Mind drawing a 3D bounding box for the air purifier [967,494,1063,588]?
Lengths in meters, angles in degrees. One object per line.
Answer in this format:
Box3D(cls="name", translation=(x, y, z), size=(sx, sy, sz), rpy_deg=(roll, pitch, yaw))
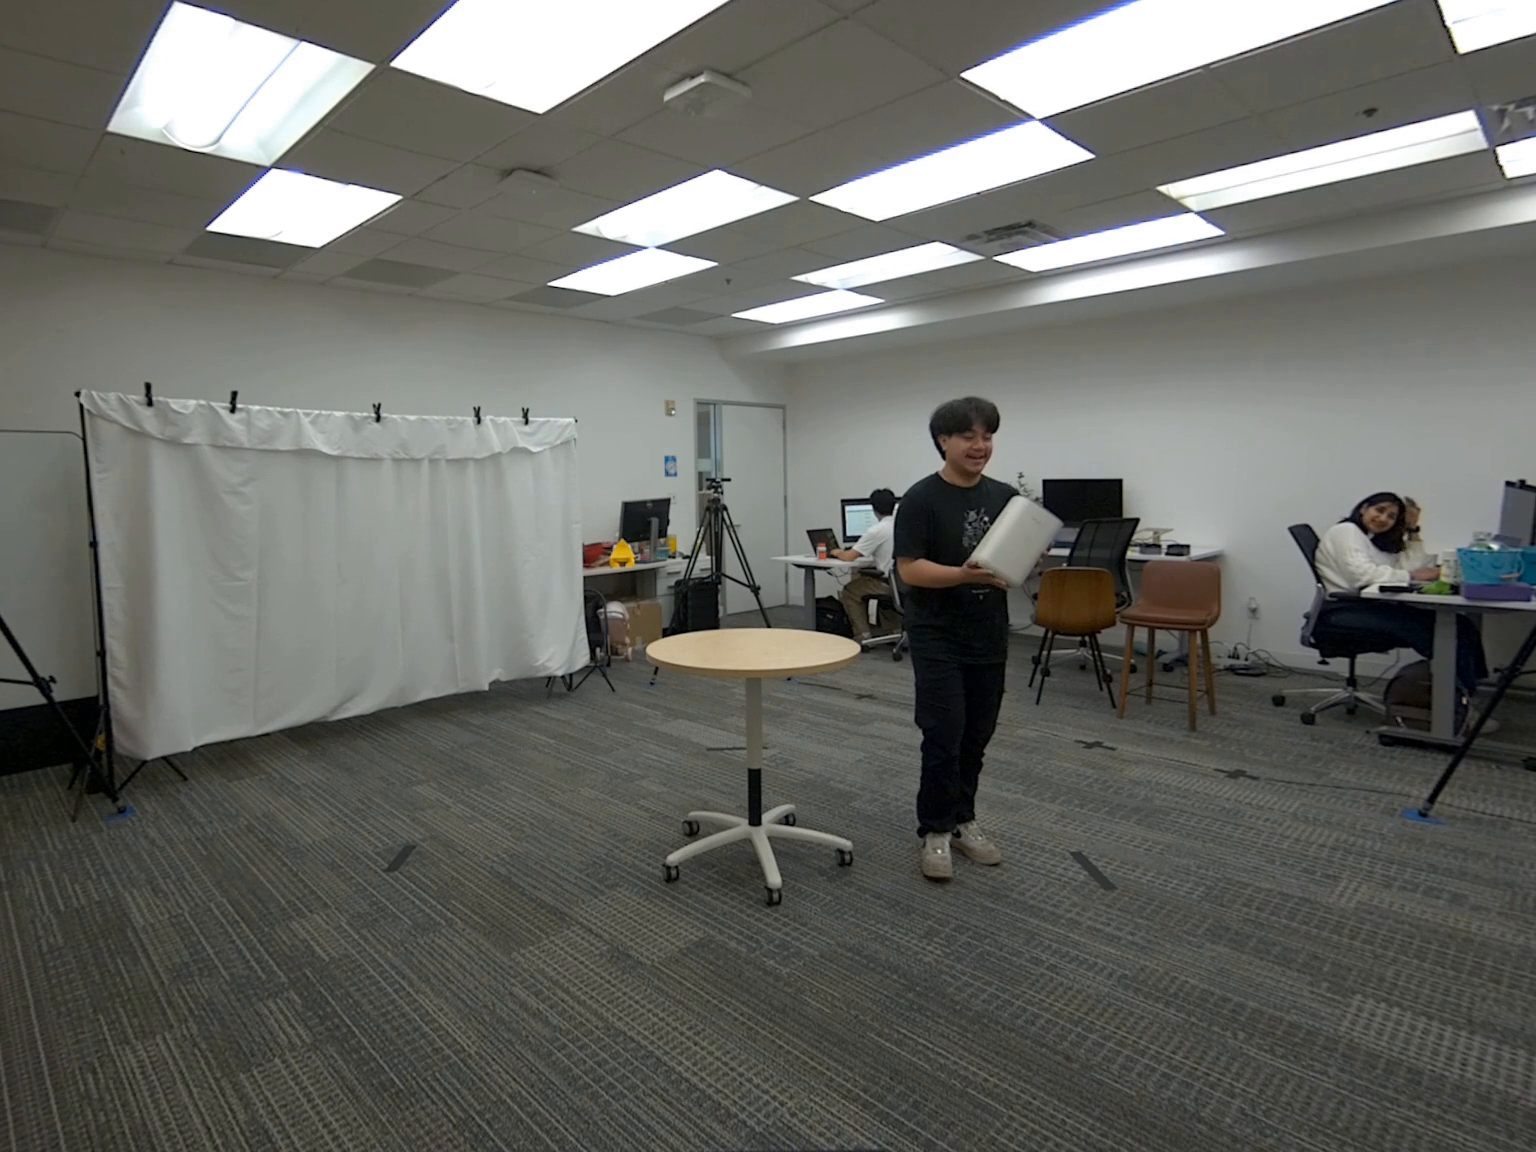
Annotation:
Box3D(cls="air purifier", translation=(0.791, -0.106, 2.788), size=(0.171, 0.265, 0.171), rpy_deg=(36, 0, 1))
